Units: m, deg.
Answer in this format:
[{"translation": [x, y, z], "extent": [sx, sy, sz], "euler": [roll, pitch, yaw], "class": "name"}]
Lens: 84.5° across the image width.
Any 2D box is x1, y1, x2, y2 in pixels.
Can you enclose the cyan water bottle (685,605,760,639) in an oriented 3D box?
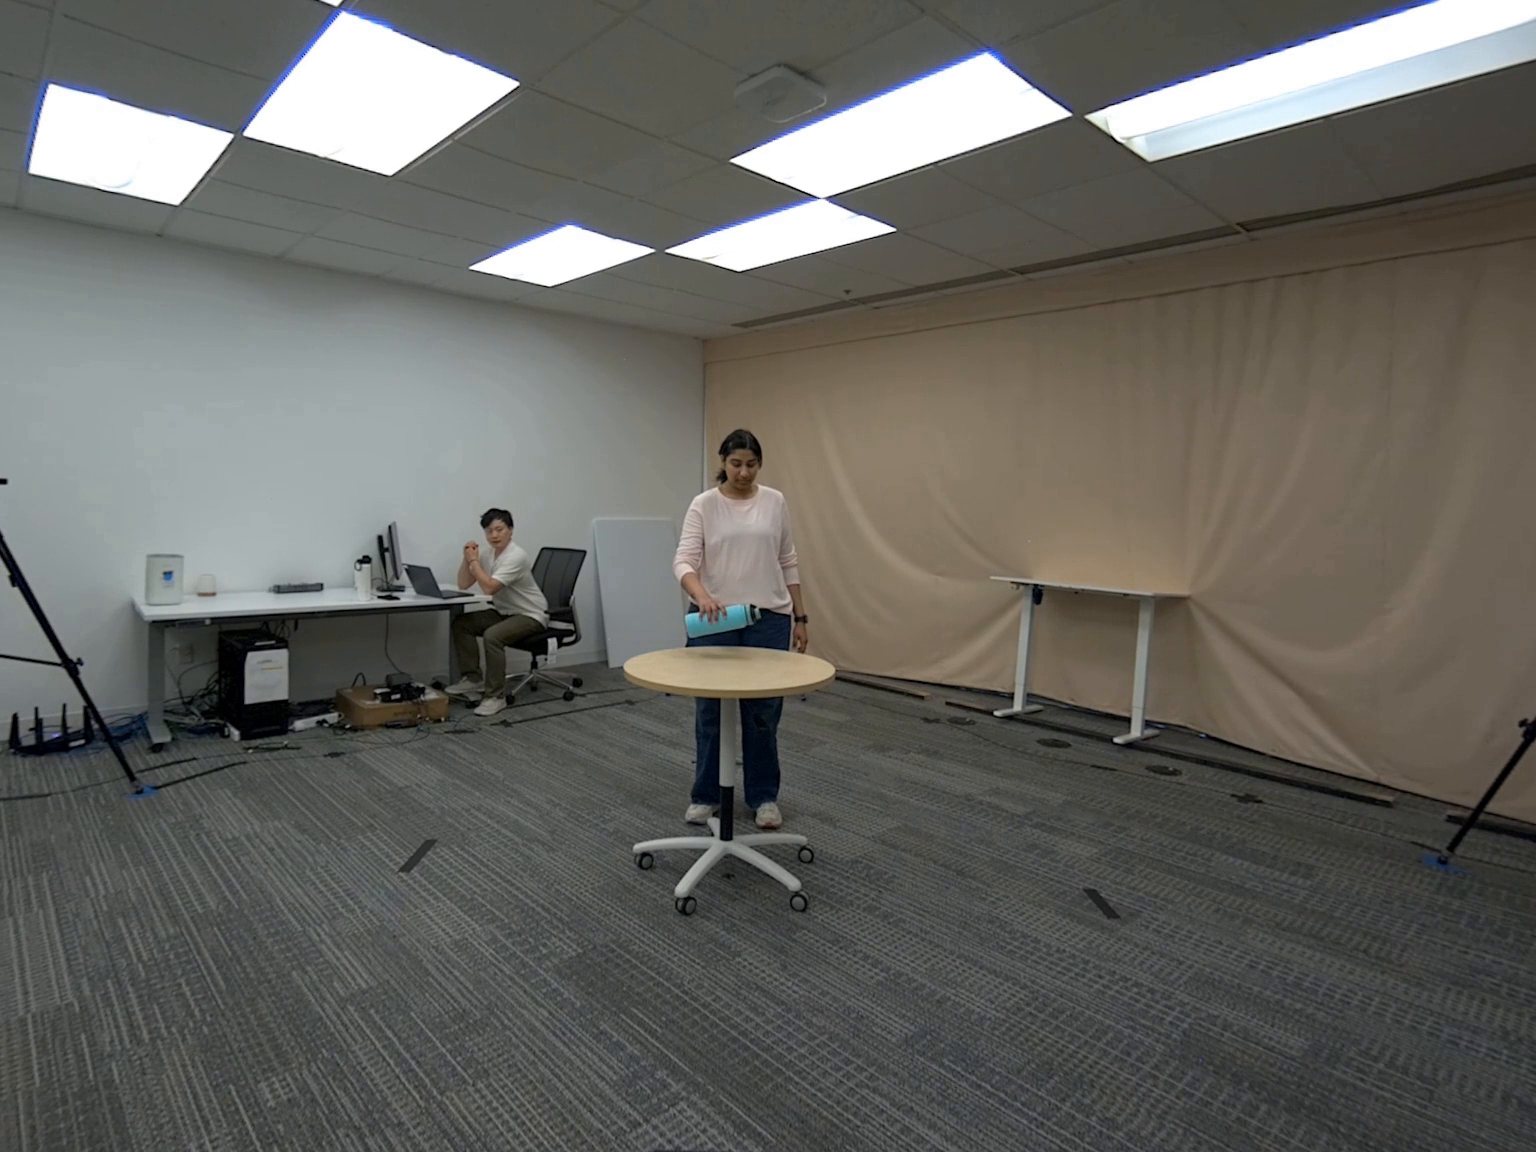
[{"translation": [-0.187, 0.173, 3.216], "extent": [0.283, 0.092, 0.092], "euler": [-7, 4, 0], "class": "cyan water bottle"}]
